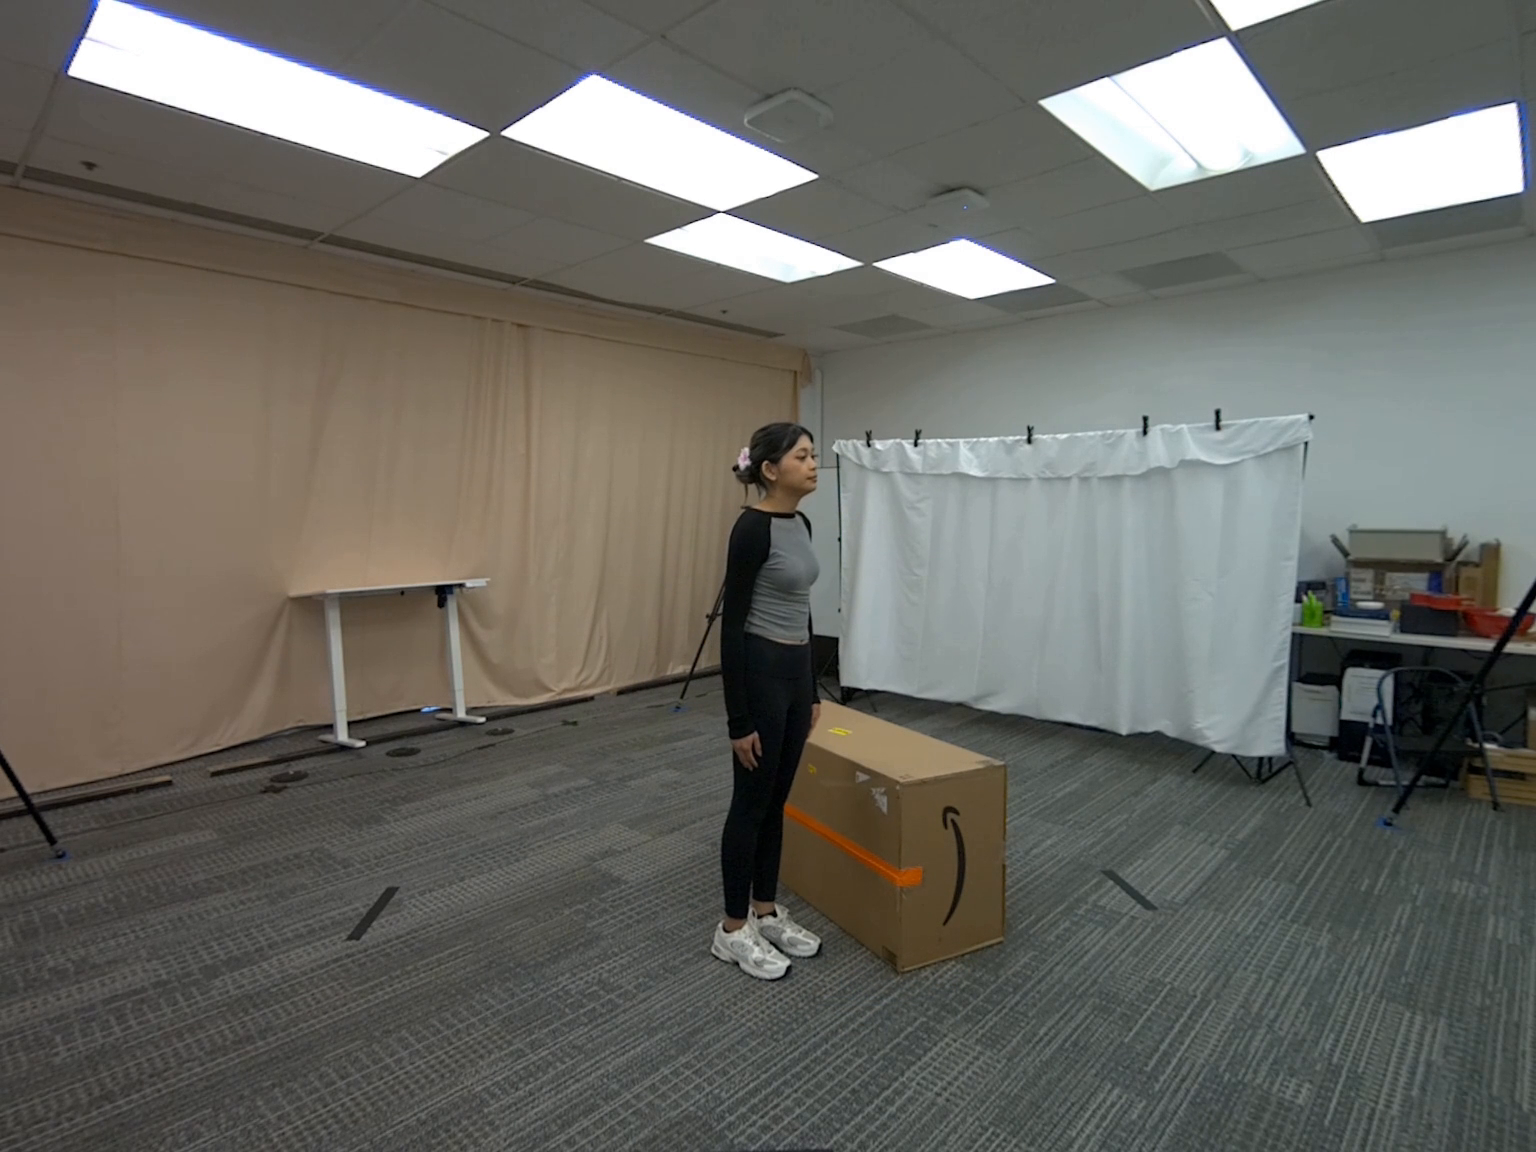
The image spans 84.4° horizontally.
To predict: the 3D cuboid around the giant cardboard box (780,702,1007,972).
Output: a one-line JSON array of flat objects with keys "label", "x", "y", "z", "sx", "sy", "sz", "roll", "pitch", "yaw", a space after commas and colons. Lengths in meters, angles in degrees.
[{"label": "giant cardboard box", "x": 0.318, "y": 0.849, "z": 3.036, "sx": 0.435, "sy": 0.582, "sz": 1.056, "roll": -3, "pitch": 5, "yaw": -30}]
